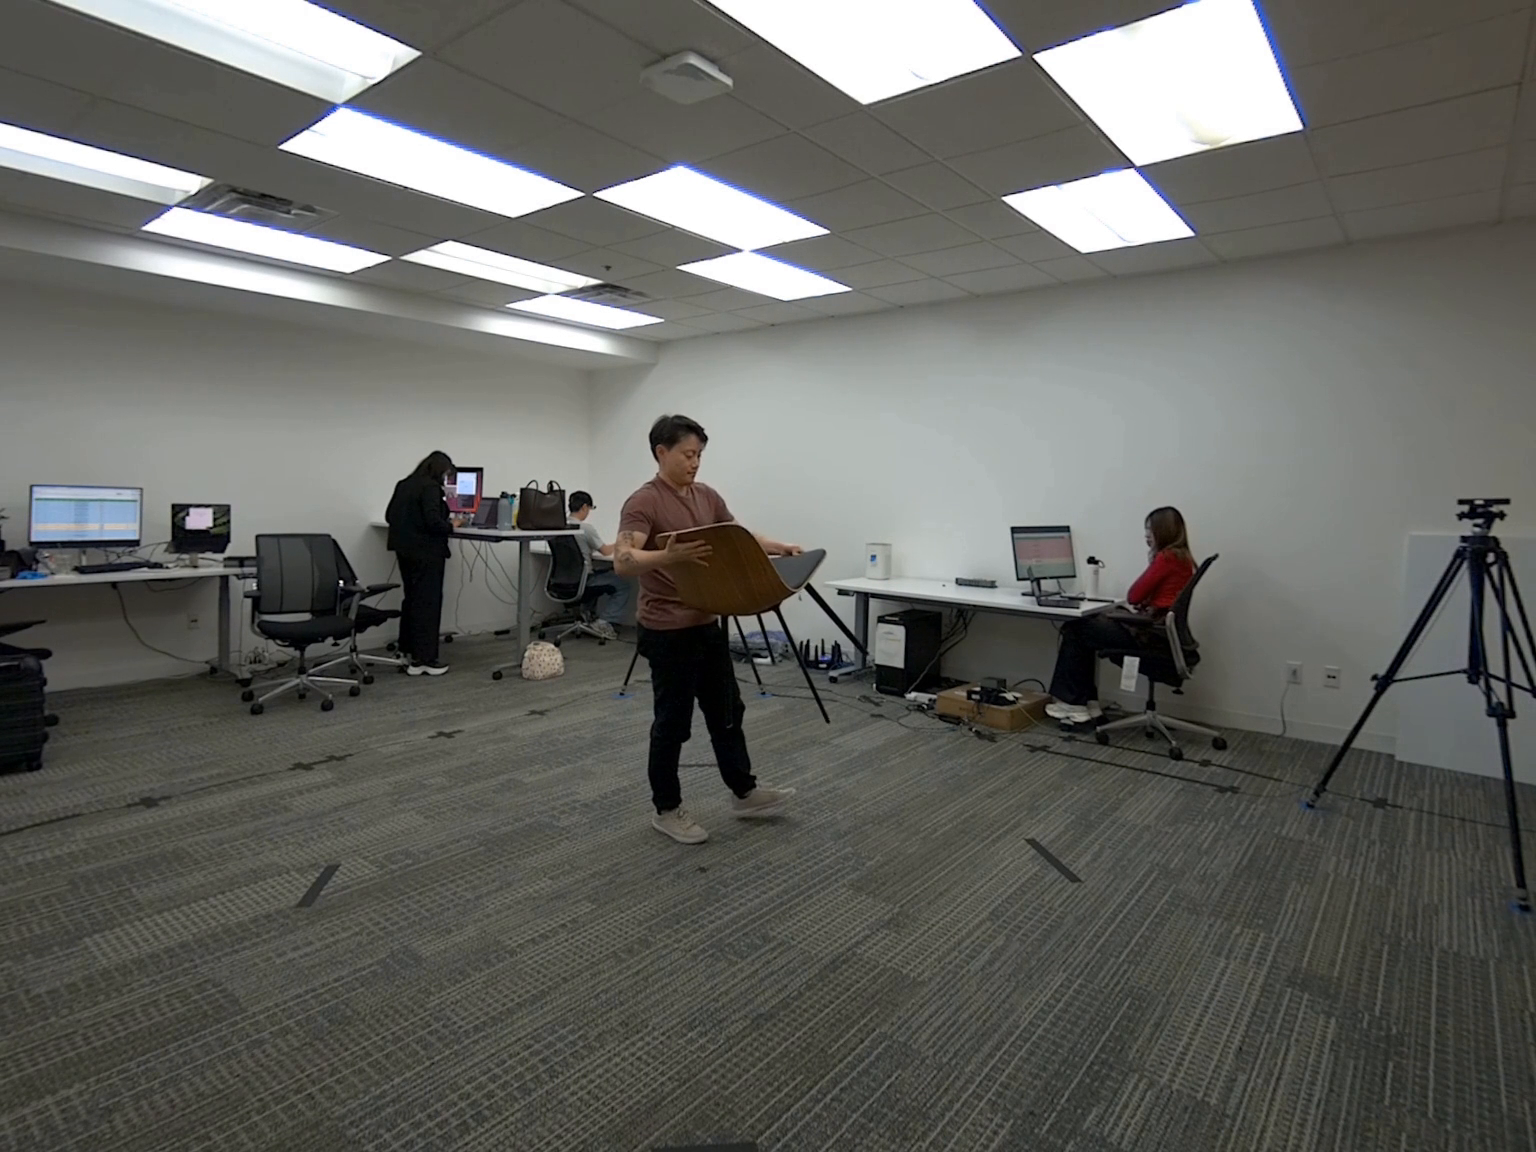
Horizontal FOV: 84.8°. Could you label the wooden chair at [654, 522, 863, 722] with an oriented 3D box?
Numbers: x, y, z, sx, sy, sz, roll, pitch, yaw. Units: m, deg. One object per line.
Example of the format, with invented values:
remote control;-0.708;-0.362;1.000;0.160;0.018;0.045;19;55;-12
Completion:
wooden chair;-0.022;0.073;3.223;0.490;0.855;0.524;-10;26;33
